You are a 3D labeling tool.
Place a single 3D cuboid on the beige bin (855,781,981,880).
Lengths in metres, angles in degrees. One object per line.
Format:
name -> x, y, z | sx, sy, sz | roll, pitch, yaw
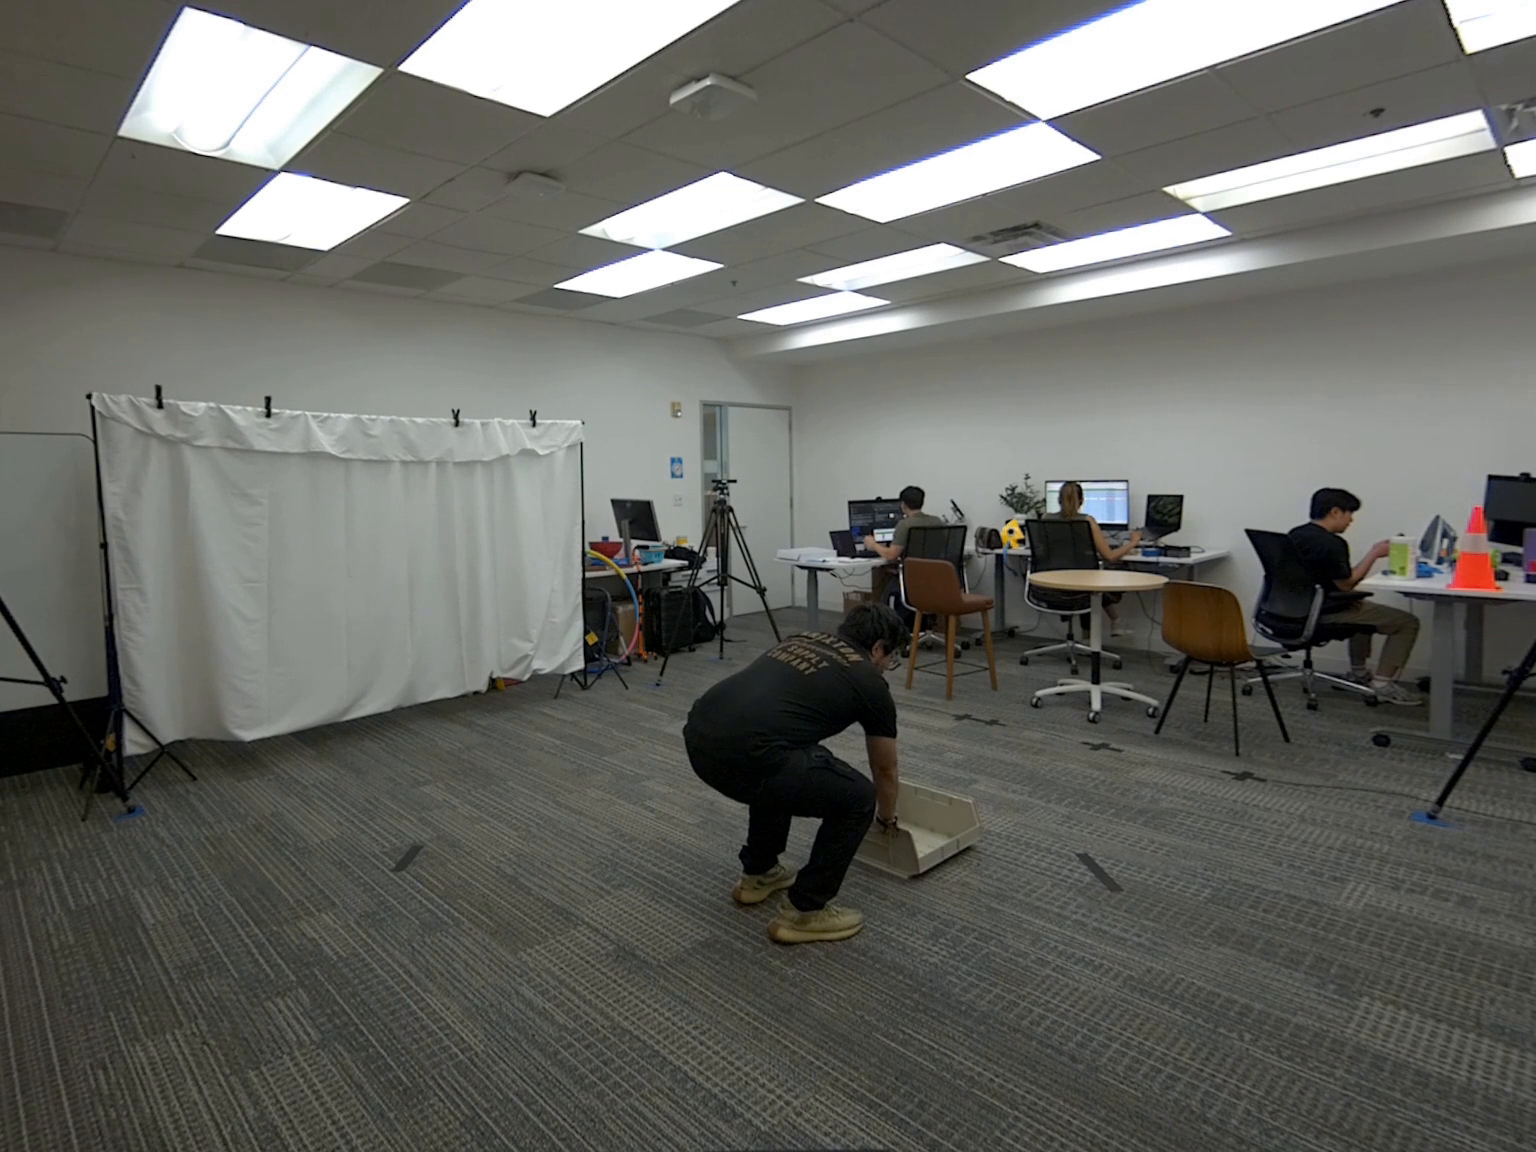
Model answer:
beige bin -> 0.528, 0.939, 3.200 | 0.411, 0.188, 0.389 | -7, 7, -44
